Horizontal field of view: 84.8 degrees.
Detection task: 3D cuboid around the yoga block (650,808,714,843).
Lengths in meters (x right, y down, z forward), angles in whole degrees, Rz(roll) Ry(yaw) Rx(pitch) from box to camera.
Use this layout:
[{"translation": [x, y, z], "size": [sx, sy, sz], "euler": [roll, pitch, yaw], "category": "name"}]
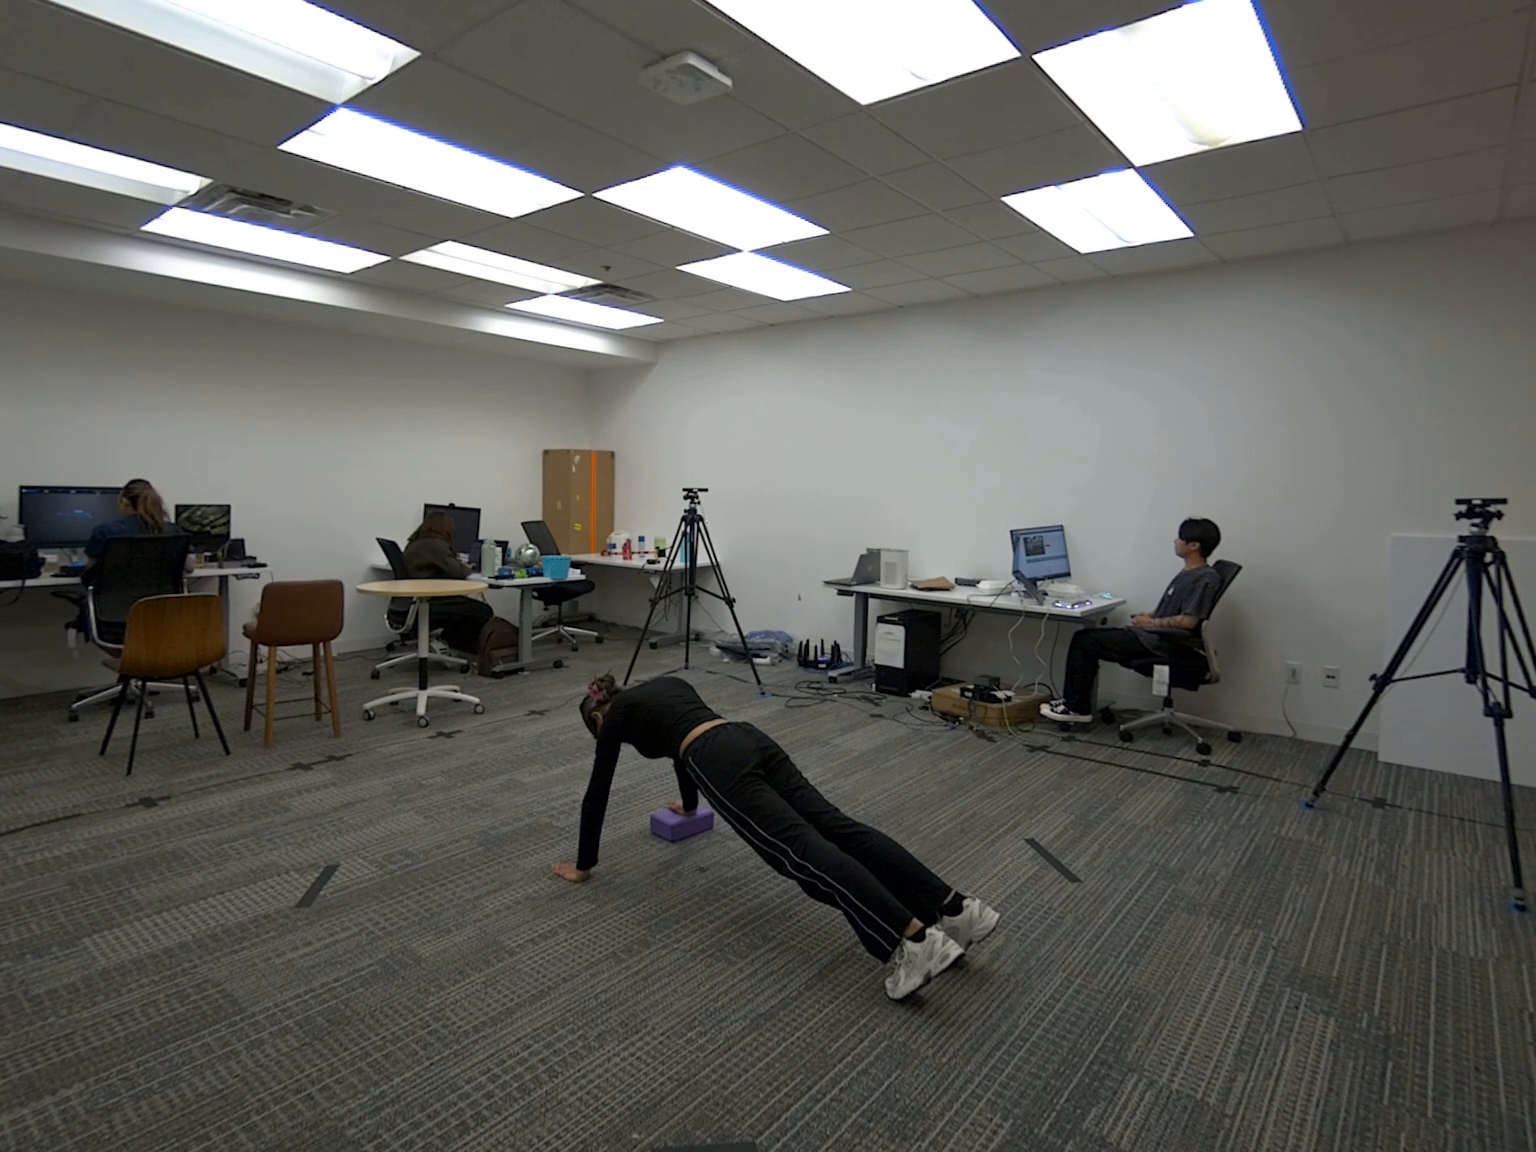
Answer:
[{"translation": [-0.359, 0.997, 3.460], "size": [0.222, 0.076, 0.154], "euler": [-2, 5, -44], "category": "yoga block"}]
